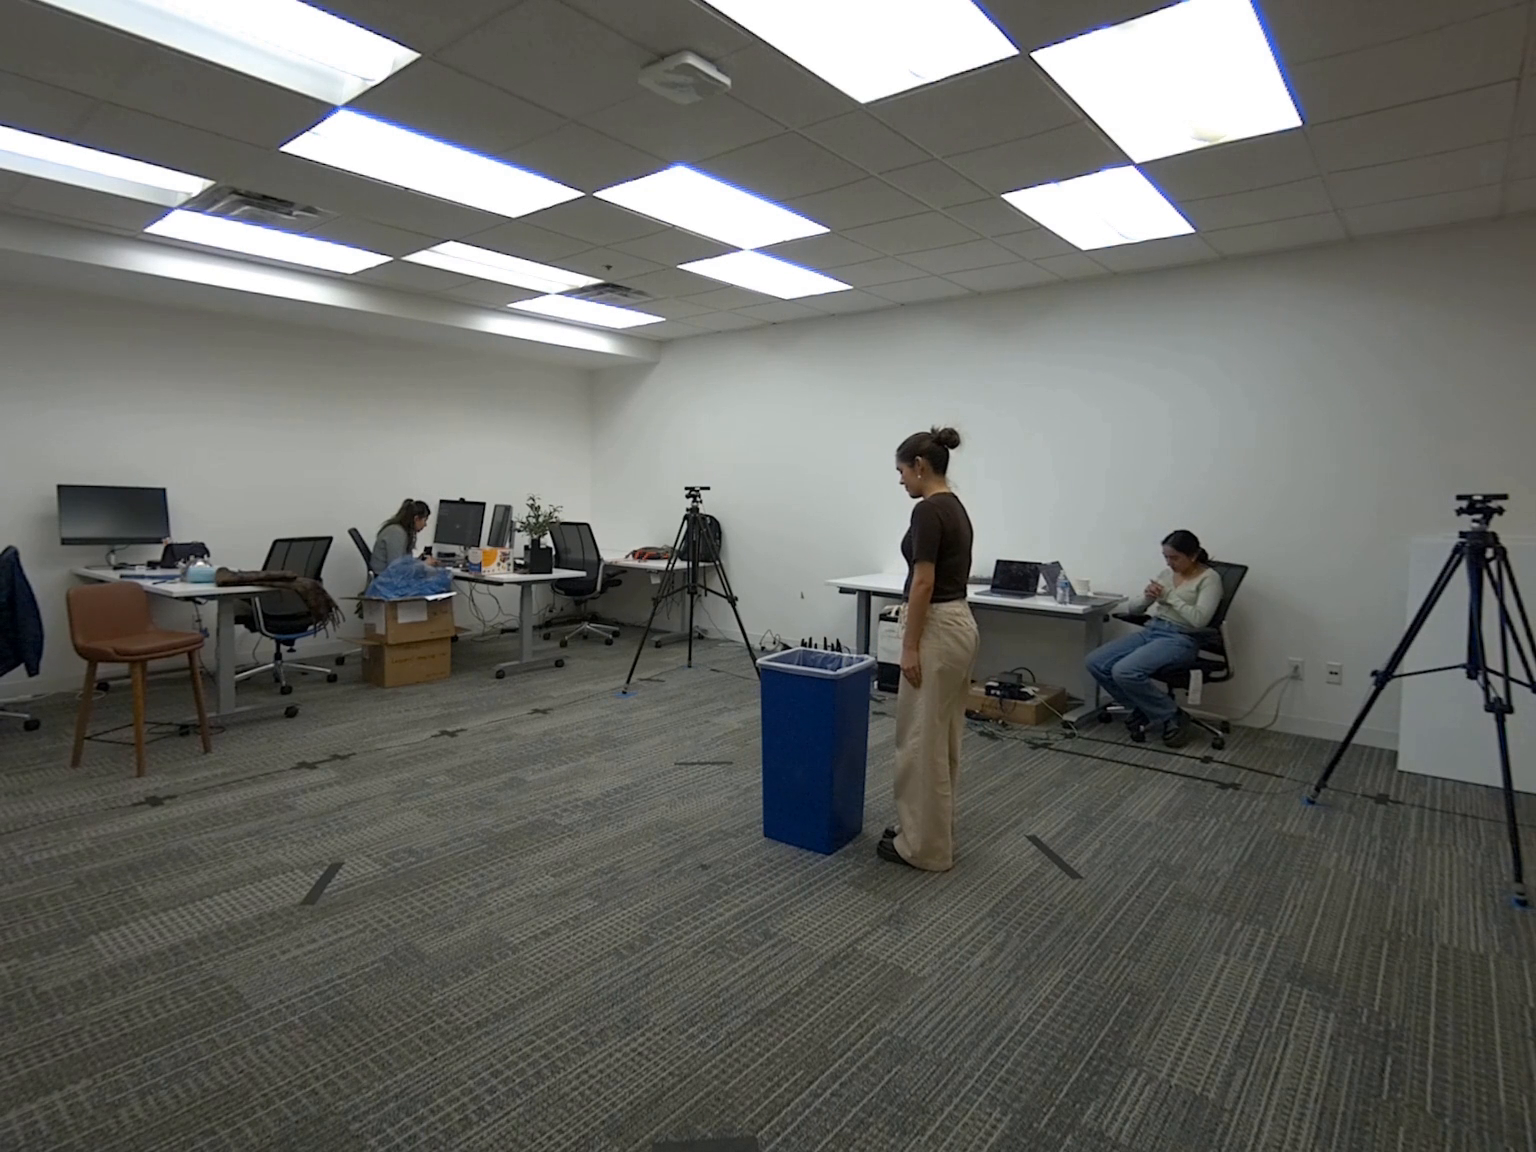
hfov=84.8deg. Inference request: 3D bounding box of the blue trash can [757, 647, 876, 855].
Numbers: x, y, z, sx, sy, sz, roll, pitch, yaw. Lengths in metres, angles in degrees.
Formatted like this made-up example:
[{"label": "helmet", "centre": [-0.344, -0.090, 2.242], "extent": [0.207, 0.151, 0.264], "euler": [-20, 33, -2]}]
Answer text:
[{"label": "blue trash can", "centre": [0.179, 0.681, 3.411], "extent": [0.390, 0.712, 0.364], "euler": [3, 4, 34]}]
